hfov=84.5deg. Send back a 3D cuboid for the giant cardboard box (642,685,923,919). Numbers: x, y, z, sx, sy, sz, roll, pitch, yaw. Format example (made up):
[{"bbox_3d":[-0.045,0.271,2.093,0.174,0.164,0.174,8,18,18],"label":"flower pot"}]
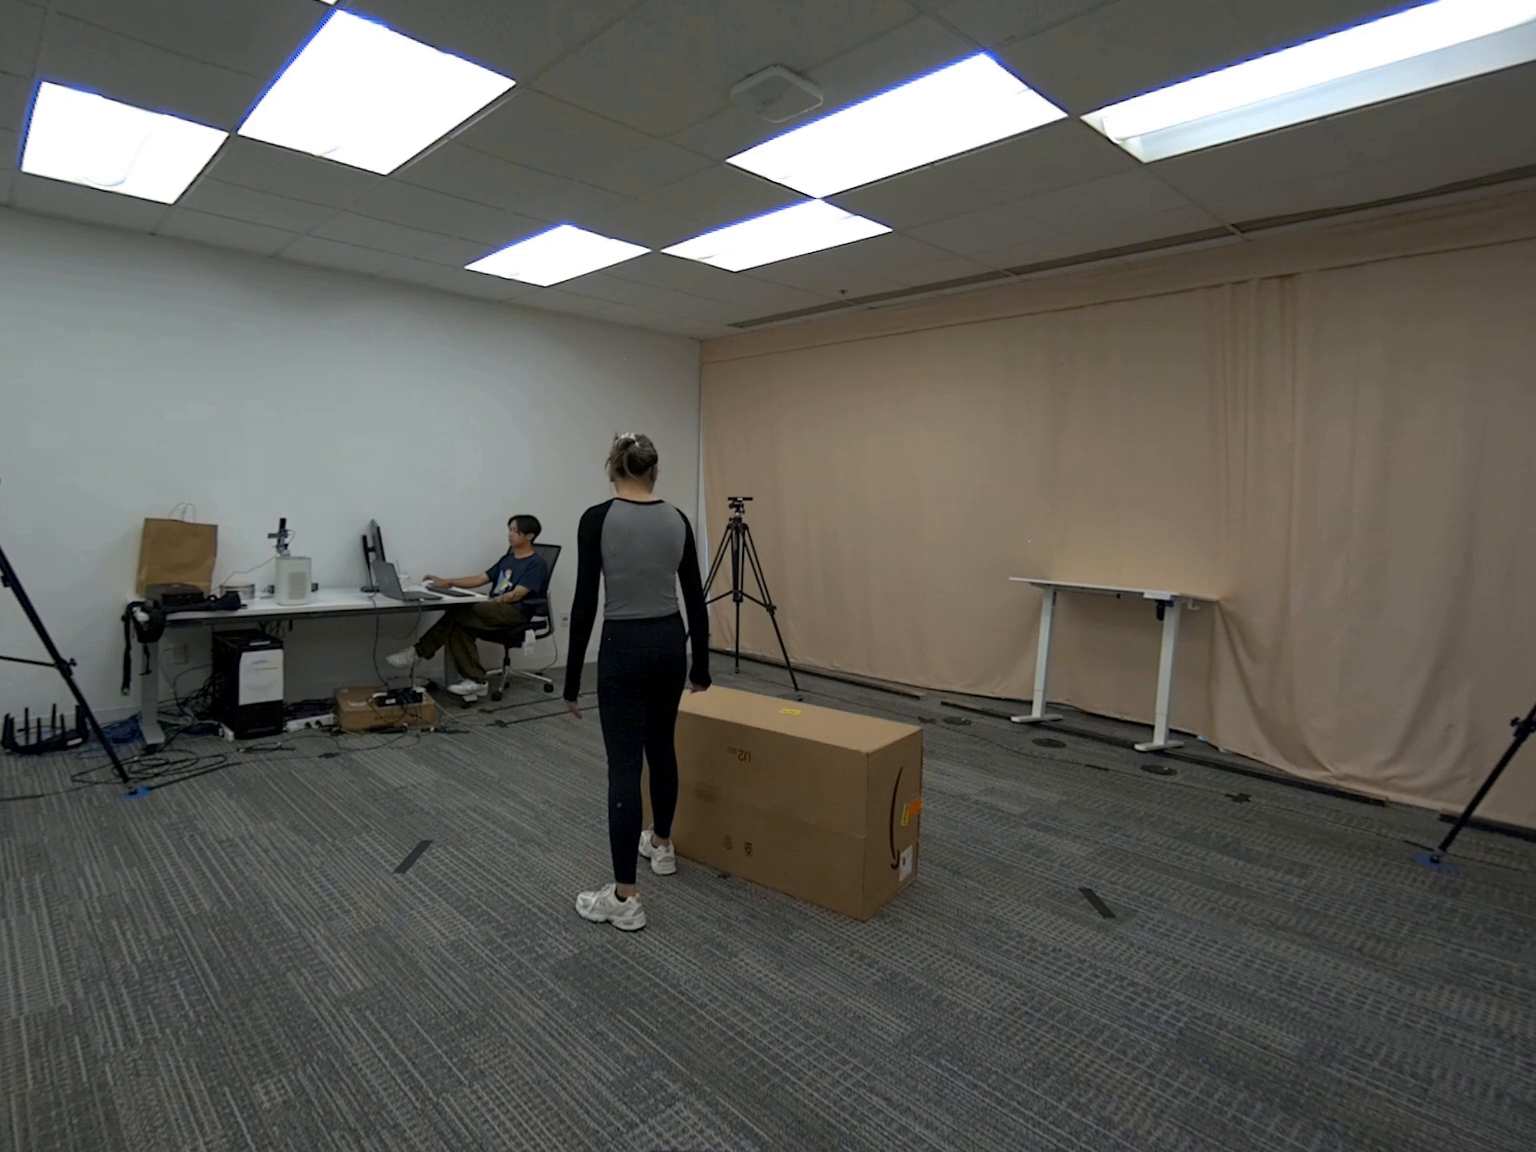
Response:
[{"bbox_3d":[0.023,0.814,3.243,1.051,0.576,0.417,5,6,37],"label":"giant cardboard box"}]
